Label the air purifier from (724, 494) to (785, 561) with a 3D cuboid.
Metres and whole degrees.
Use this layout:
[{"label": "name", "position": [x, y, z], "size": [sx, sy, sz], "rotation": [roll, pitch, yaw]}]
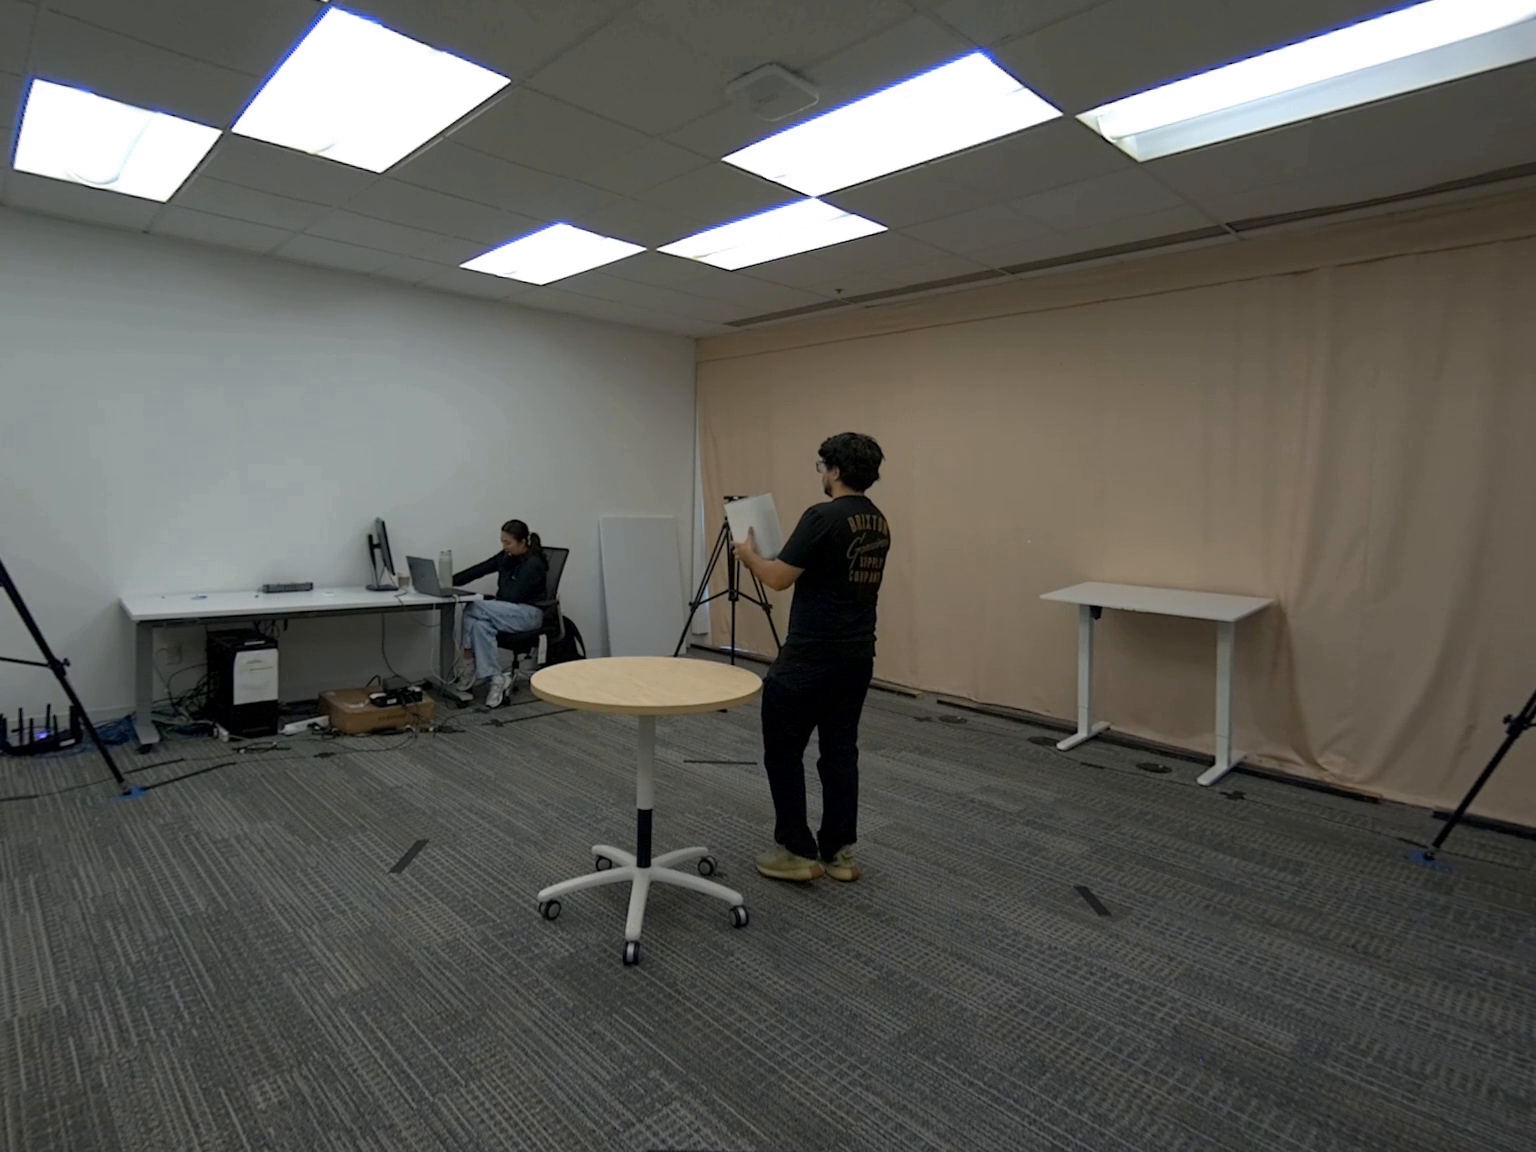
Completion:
[{"label": "air purifier", "position": [-0.052, -0.186, 3.380], "size": [0.174, 0.264, 0.169], "rotation": [-11, 6, 29]}]
